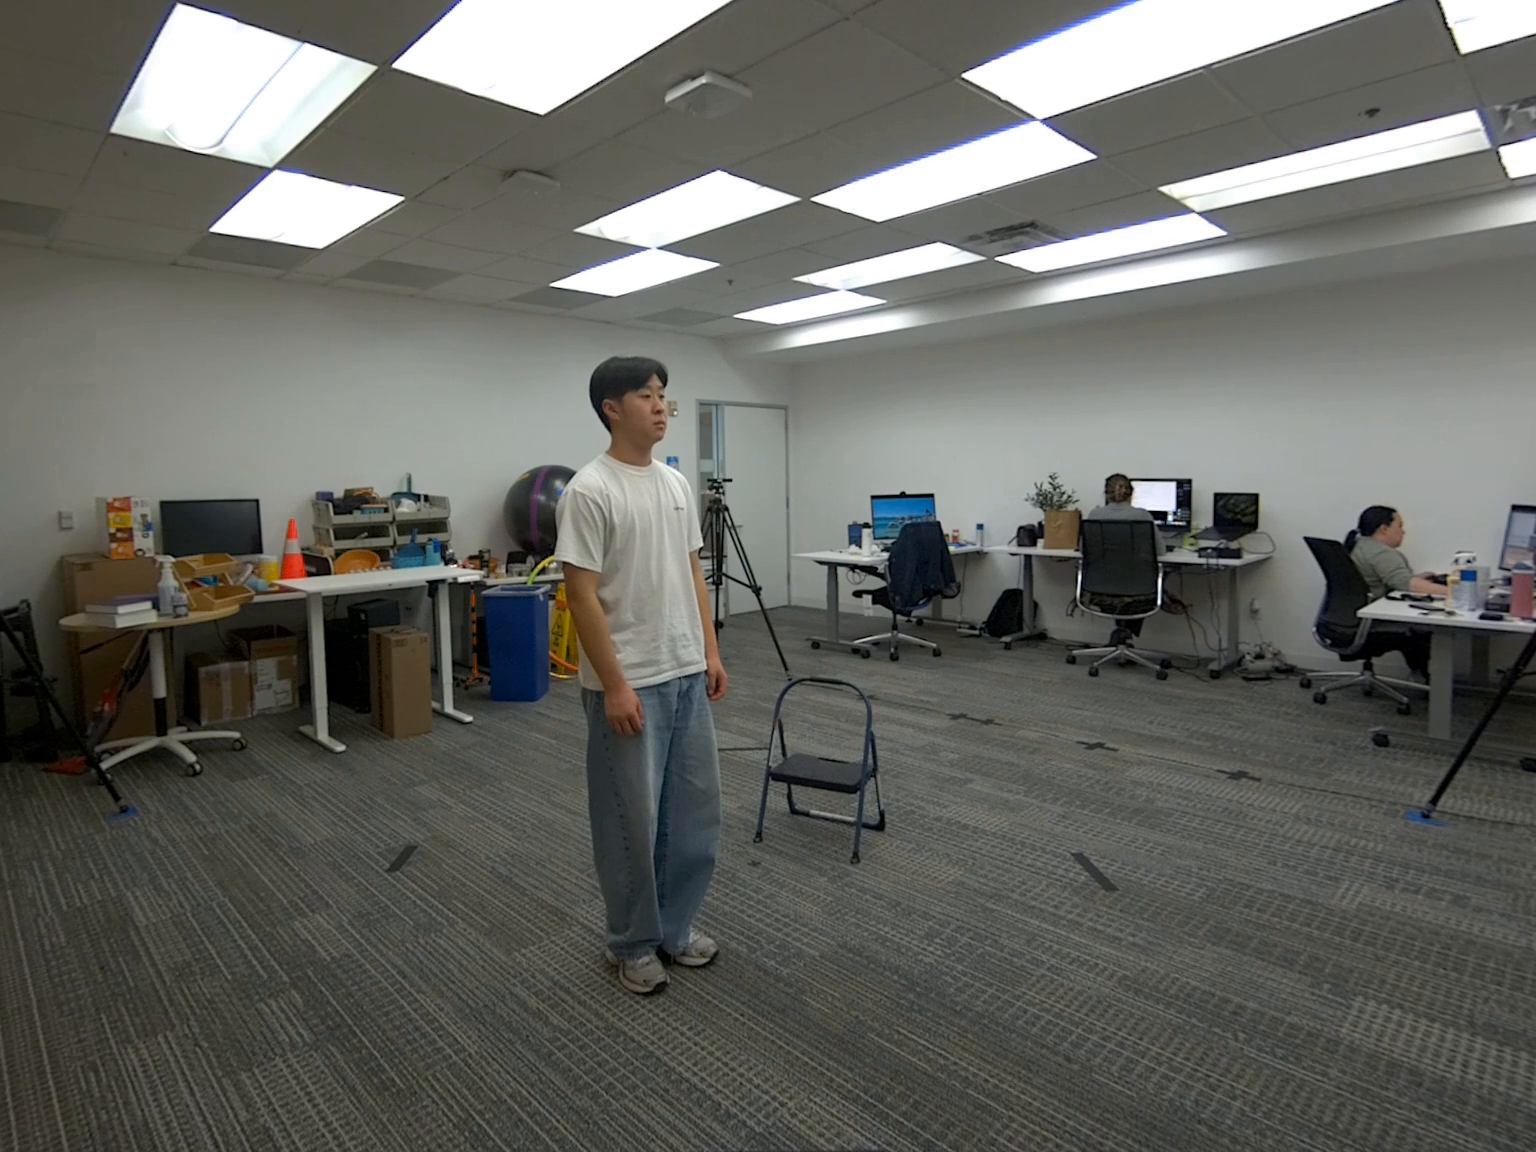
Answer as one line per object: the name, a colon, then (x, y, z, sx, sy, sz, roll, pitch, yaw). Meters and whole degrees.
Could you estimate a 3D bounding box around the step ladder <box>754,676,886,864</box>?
step ladder: (0.207, 0.713, 3.319, 0.441, 0.604, 0.342, 2, 5, 28)
